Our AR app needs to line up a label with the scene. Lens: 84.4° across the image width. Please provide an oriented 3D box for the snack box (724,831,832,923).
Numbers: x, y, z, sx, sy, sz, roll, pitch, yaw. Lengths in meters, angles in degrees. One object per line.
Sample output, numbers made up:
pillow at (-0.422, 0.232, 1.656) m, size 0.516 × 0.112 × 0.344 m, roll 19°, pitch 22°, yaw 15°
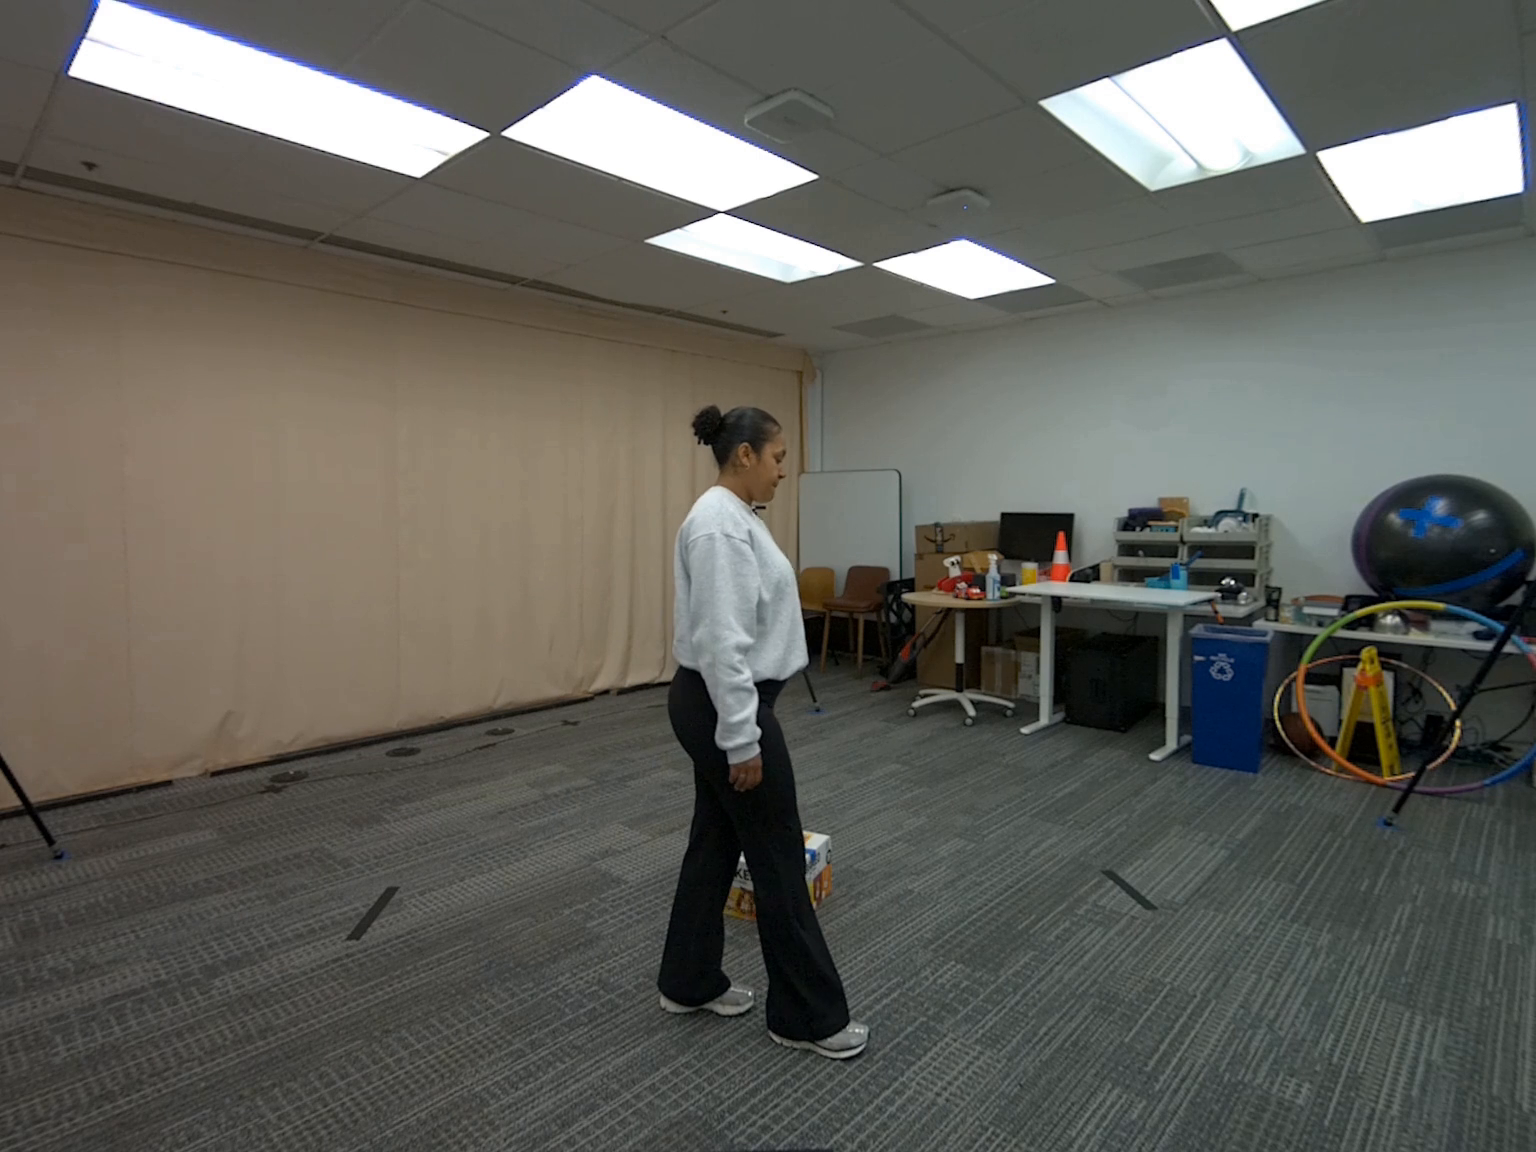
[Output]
snack box at (-0.021, 1.042, 2.976) m, size 0.416 × 0.205 × 0.332 m, roll 2°, pitch 5°, yaw 27°
